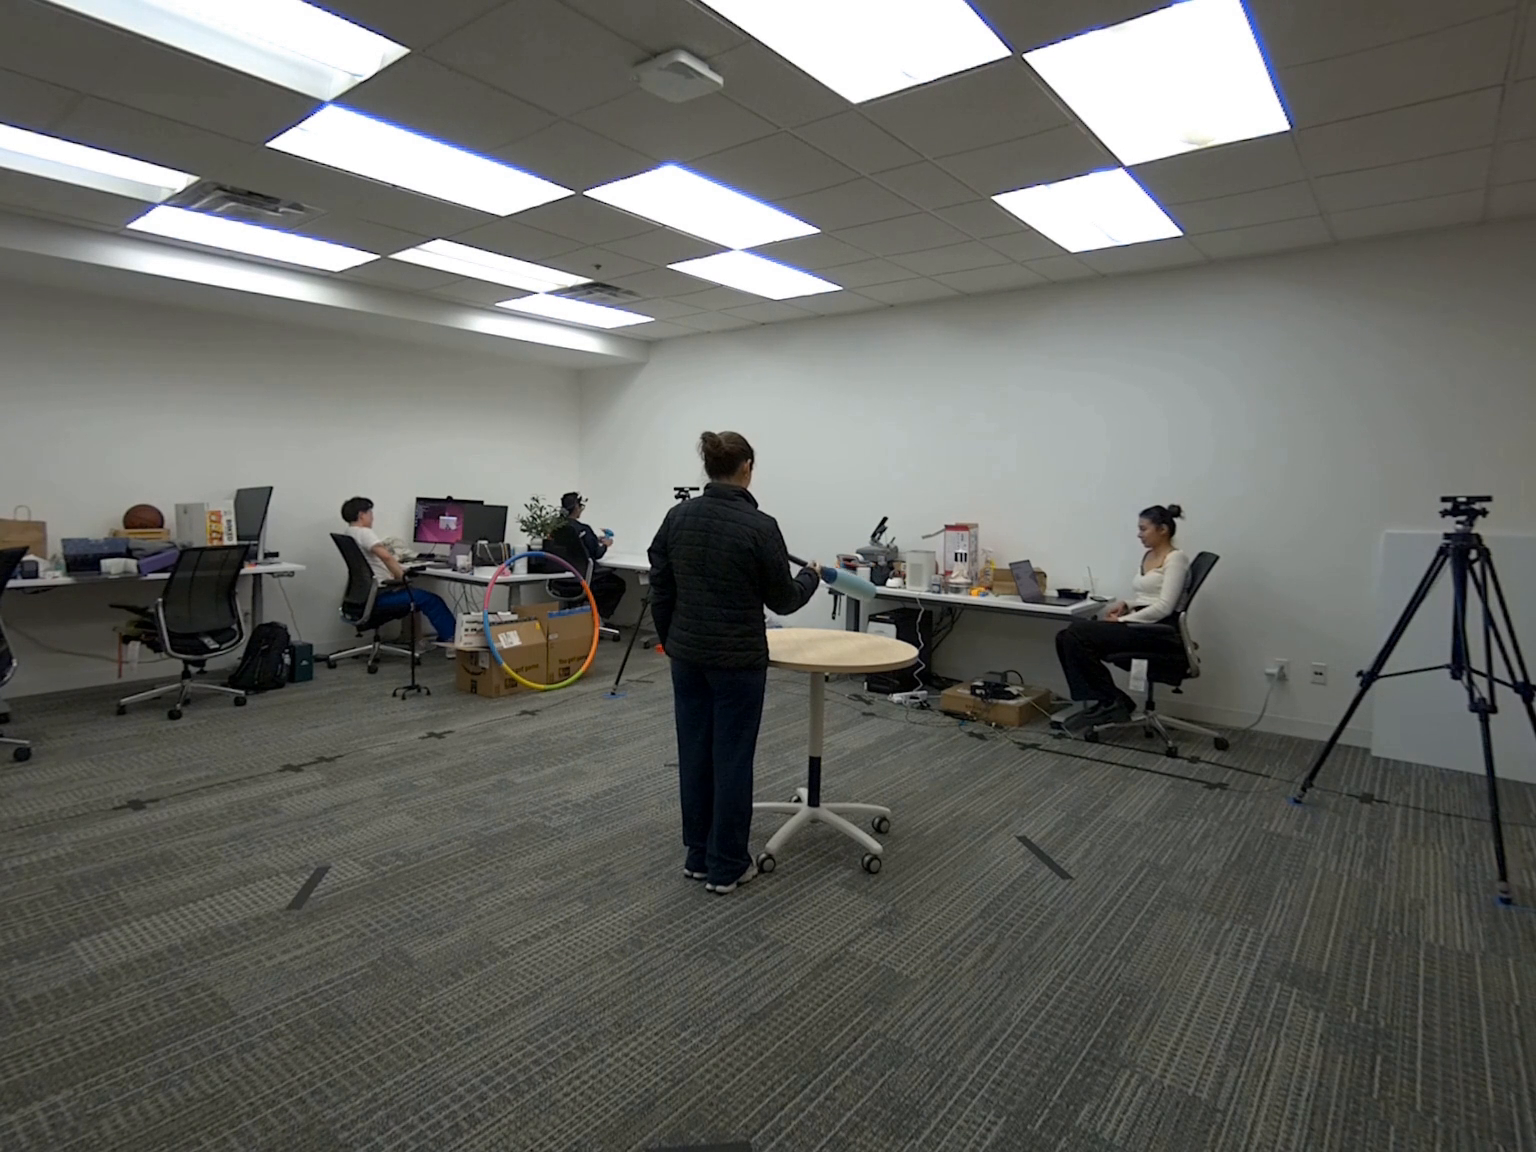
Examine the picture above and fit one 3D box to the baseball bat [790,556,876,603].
[{"bbox_3d":[0.250,-0.008,3.349,0.522,0.089,0.092,24,-11,-36],"label":"baseball bat"}]
